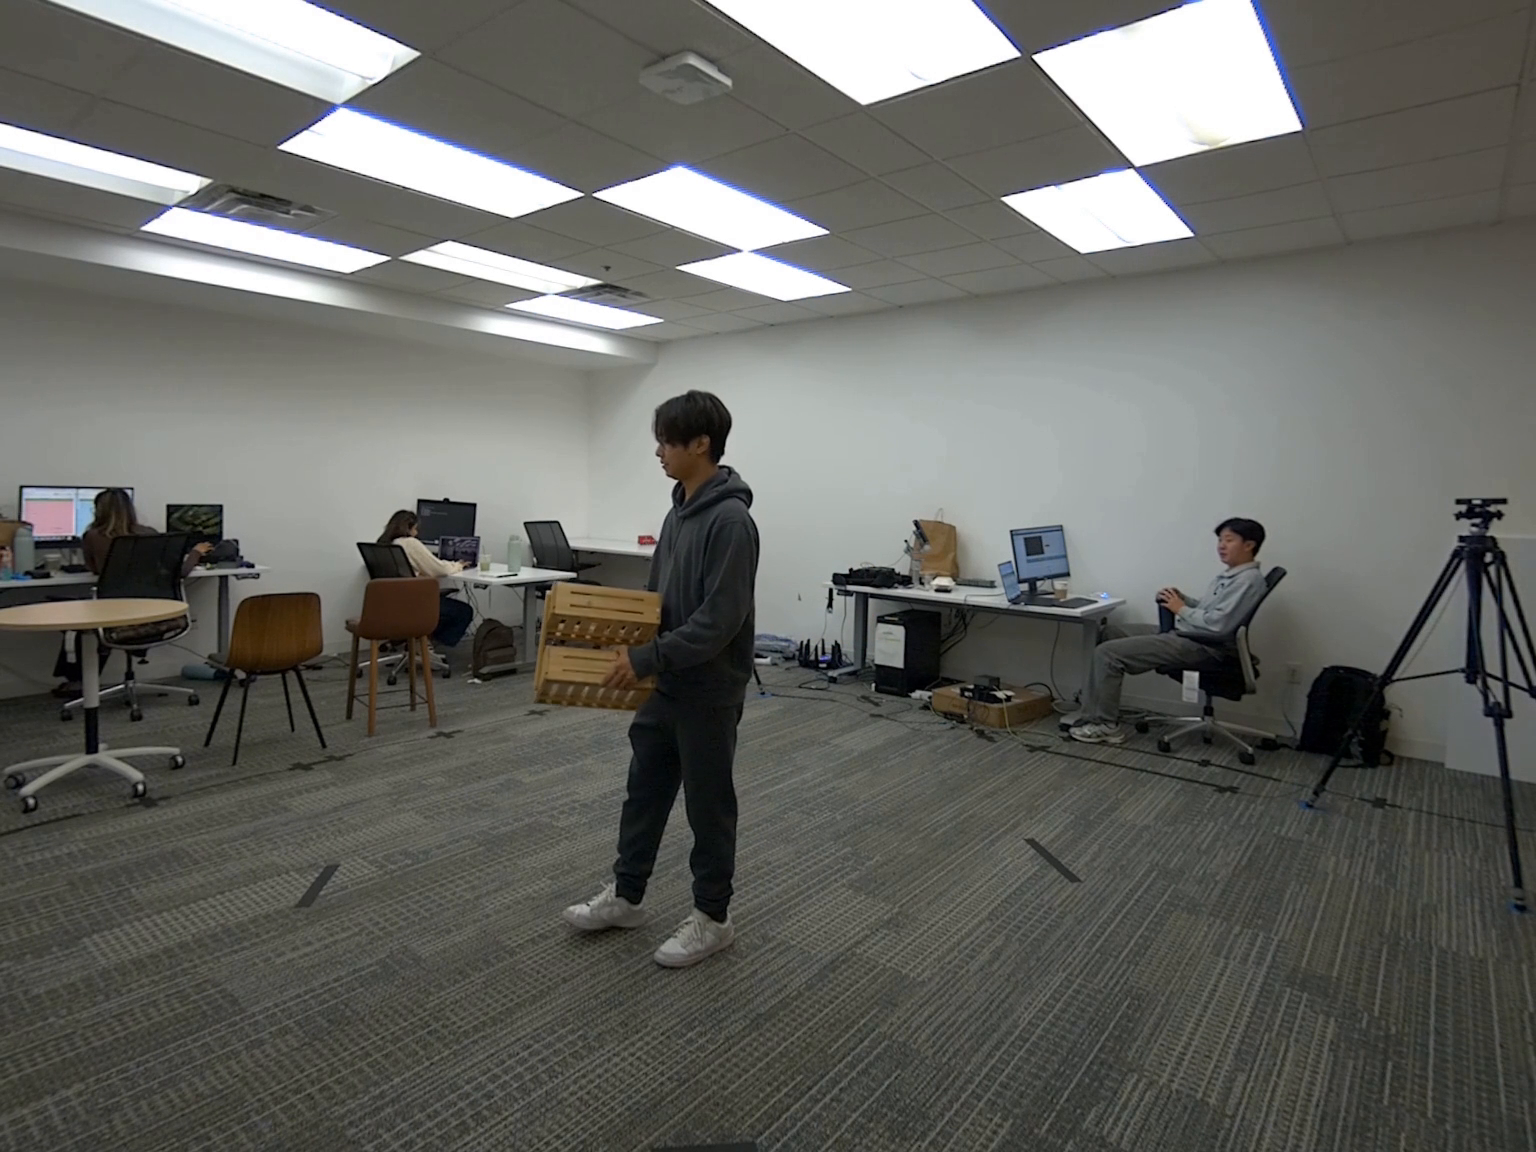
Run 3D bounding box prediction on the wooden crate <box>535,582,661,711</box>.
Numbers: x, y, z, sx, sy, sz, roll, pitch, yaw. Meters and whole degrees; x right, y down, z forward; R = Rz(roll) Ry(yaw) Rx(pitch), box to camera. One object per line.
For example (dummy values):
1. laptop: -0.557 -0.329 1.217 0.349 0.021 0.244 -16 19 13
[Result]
1. wooden crate: -0.502 0.207 2.429 0.318 0.280 0.300 8 -28 -17
